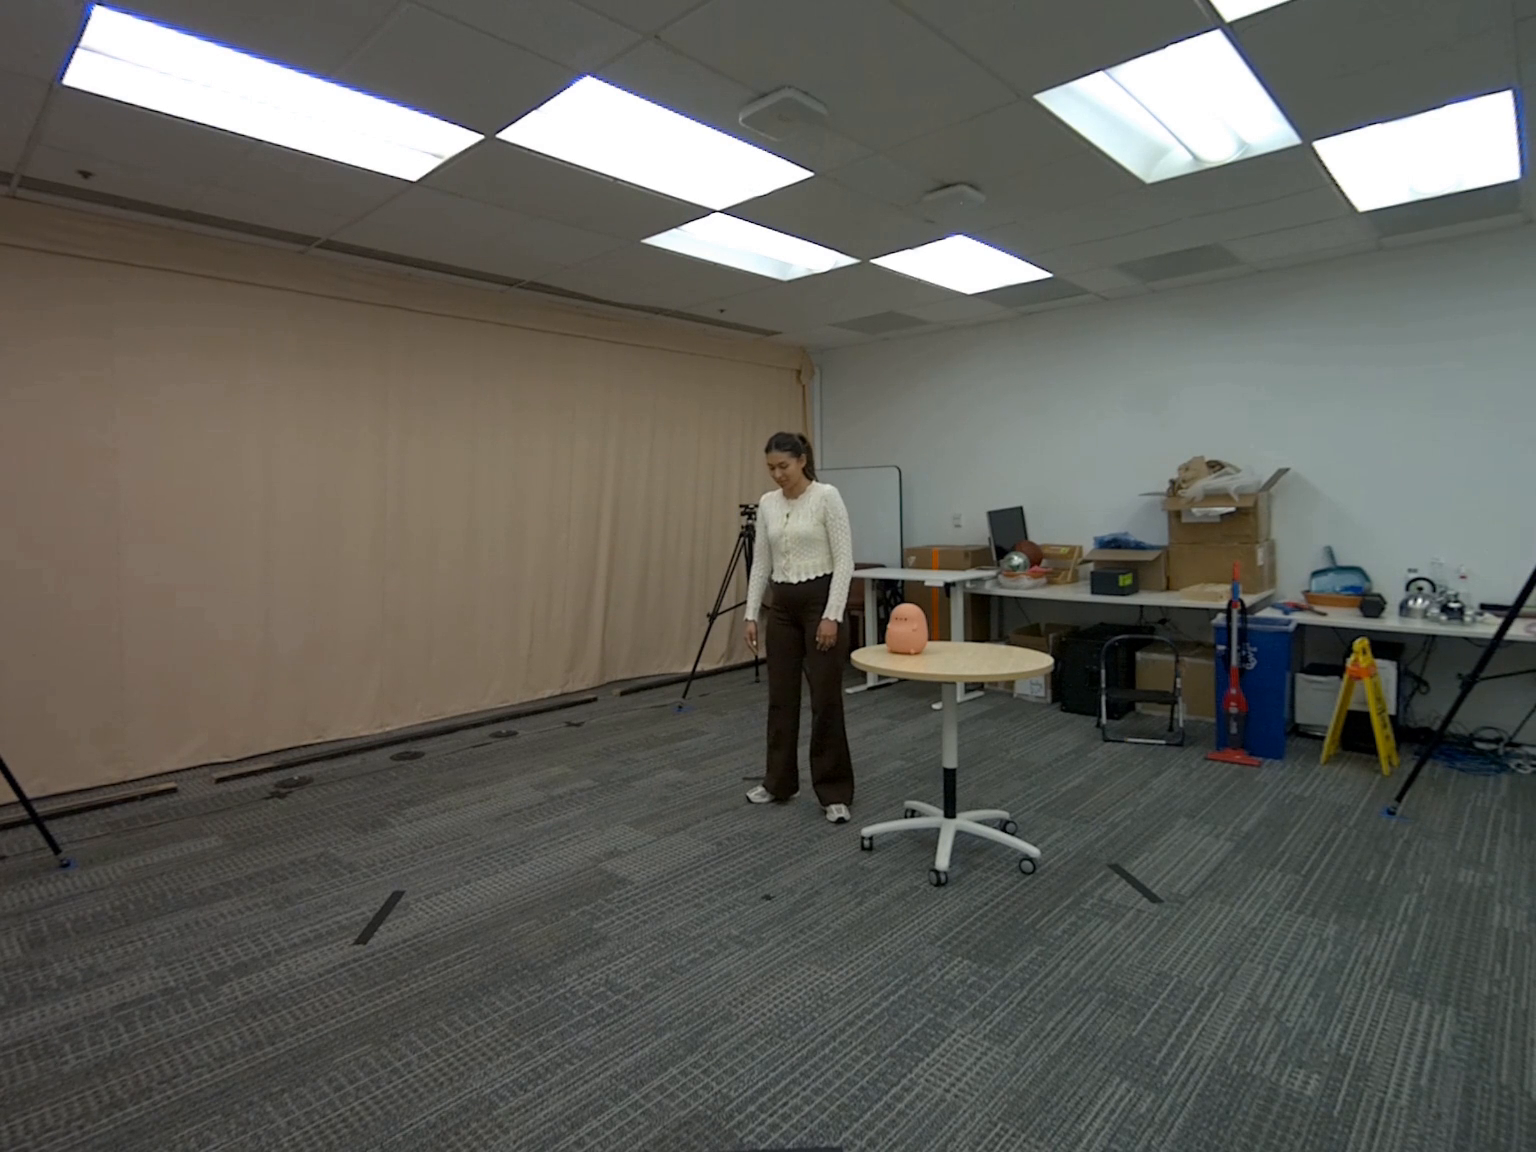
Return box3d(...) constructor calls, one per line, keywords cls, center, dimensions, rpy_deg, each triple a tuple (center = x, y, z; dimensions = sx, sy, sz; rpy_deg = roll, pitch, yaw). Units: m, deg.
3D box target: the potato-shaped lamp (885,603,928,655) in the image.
box3d(cls="potato-shaped lamp", center=(0.569, 0.212, 3.420), dimensions=(0.170, 0.198, 0.166), rpy_deg=(-3, 0, 42))
